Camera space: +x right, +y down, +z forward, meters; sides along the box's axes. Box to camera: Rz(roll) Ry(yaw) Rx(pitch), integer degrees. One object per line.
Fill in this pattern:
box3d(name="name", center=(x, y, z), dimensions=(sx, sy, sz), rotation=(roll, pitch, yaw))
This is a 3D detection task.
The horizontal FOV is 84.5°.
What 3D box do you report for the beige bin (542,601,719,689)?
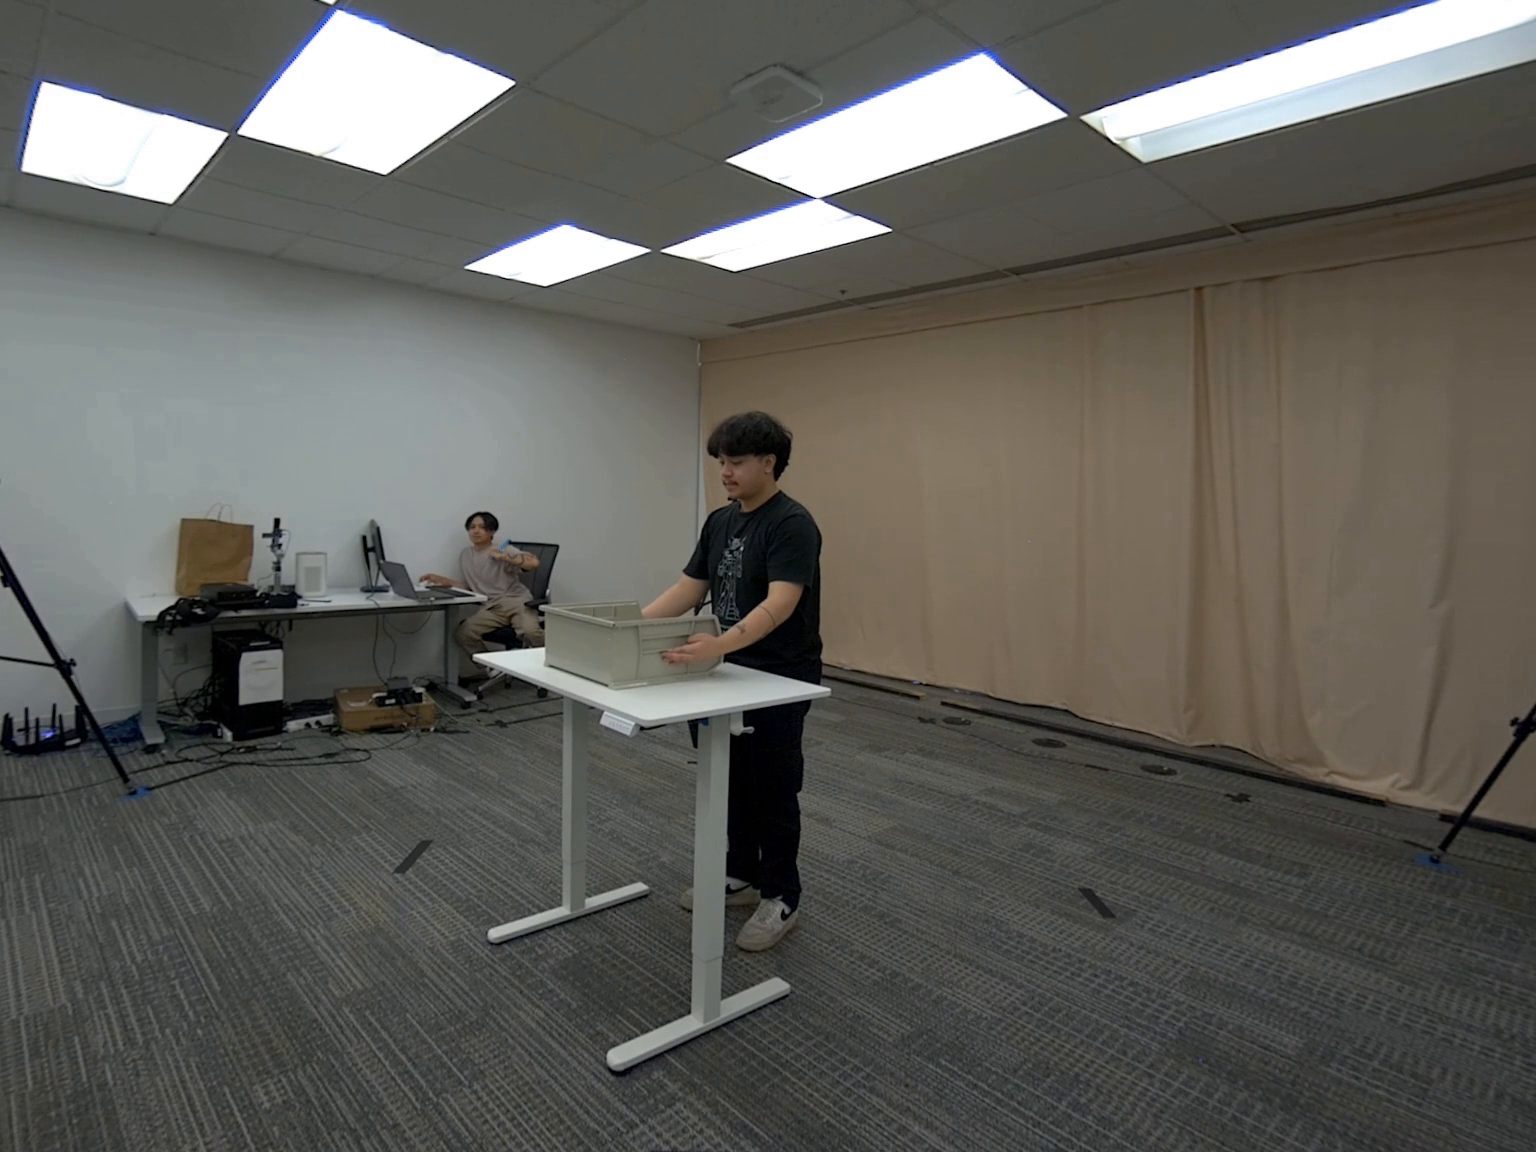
box3d(name="beige bin", center=(-0.405, 0.194, 2.459), dimensions=(0.369, 0.188, 0.433), rotation=(-3, 7, -37))
